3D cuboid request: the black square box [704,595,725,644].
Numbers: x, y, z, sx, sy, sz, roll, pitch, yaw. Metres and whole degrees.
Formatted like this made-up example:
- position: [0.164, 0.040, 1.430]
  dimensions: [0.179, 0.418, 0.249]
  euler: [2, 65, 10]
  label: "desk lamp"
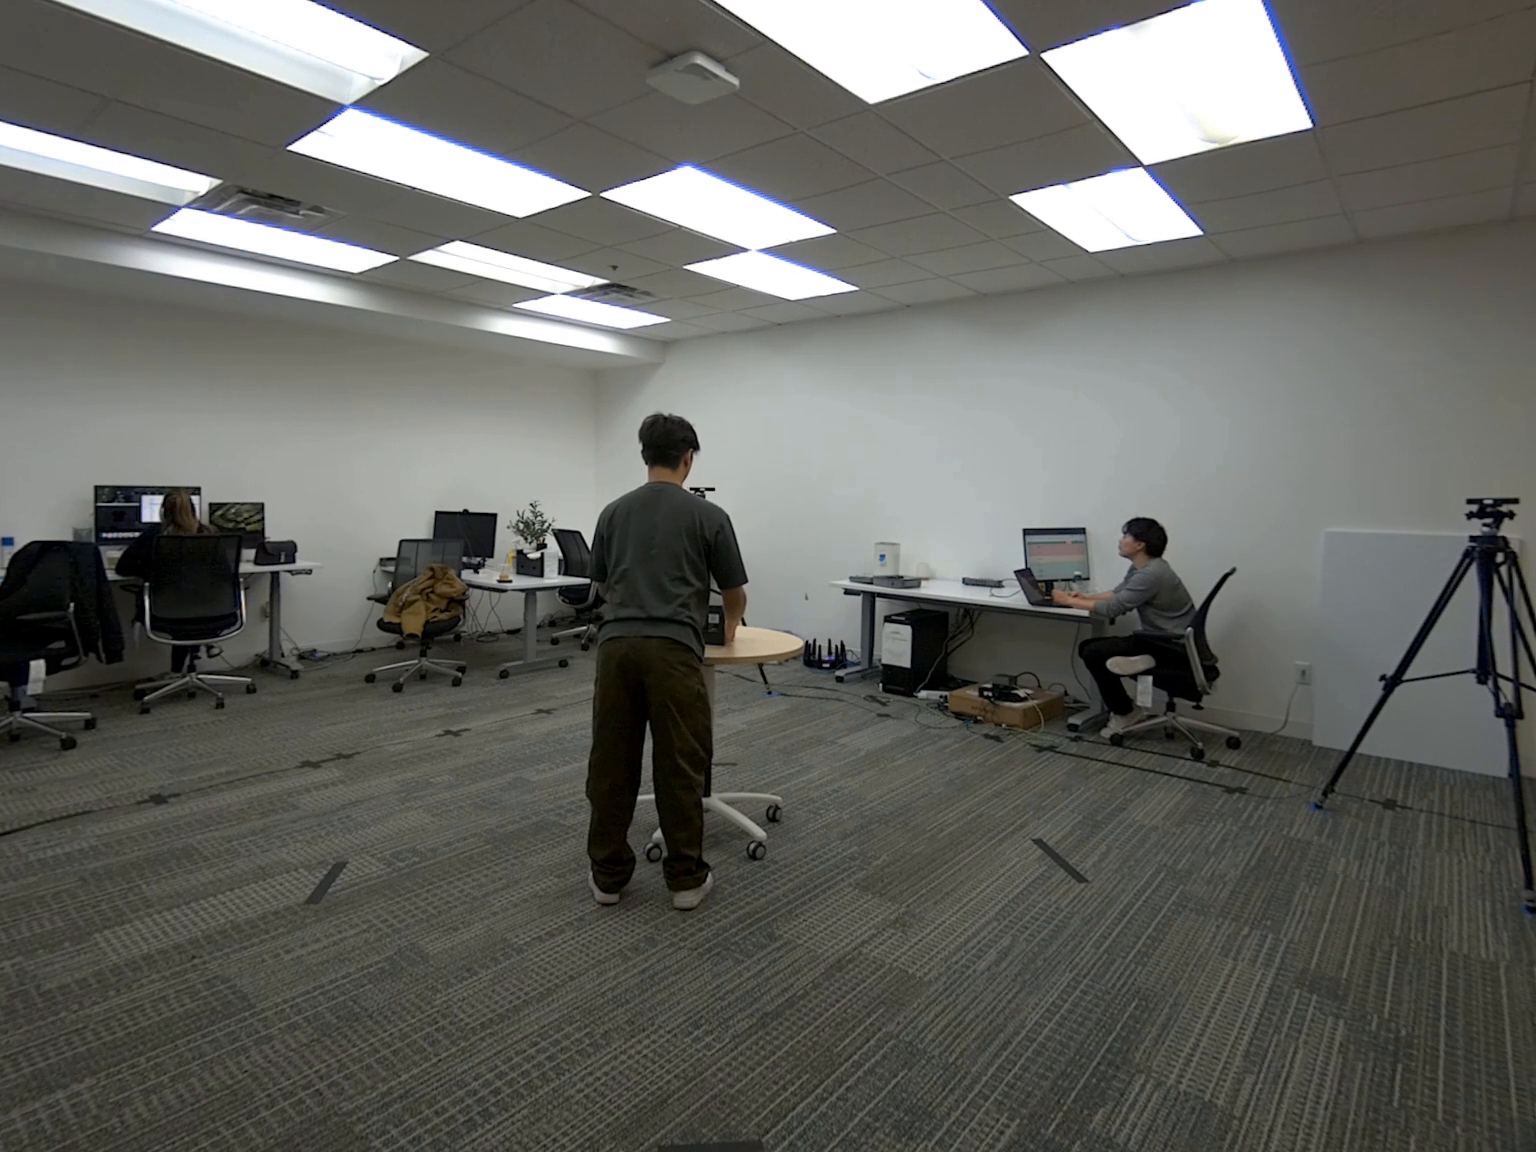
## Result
- position: [-0.266, 0.167, 3.411]
  dimensions: [0.220, 0.155, 0.226]
  euler: [3, 5, 10]
  label: "black square box"
